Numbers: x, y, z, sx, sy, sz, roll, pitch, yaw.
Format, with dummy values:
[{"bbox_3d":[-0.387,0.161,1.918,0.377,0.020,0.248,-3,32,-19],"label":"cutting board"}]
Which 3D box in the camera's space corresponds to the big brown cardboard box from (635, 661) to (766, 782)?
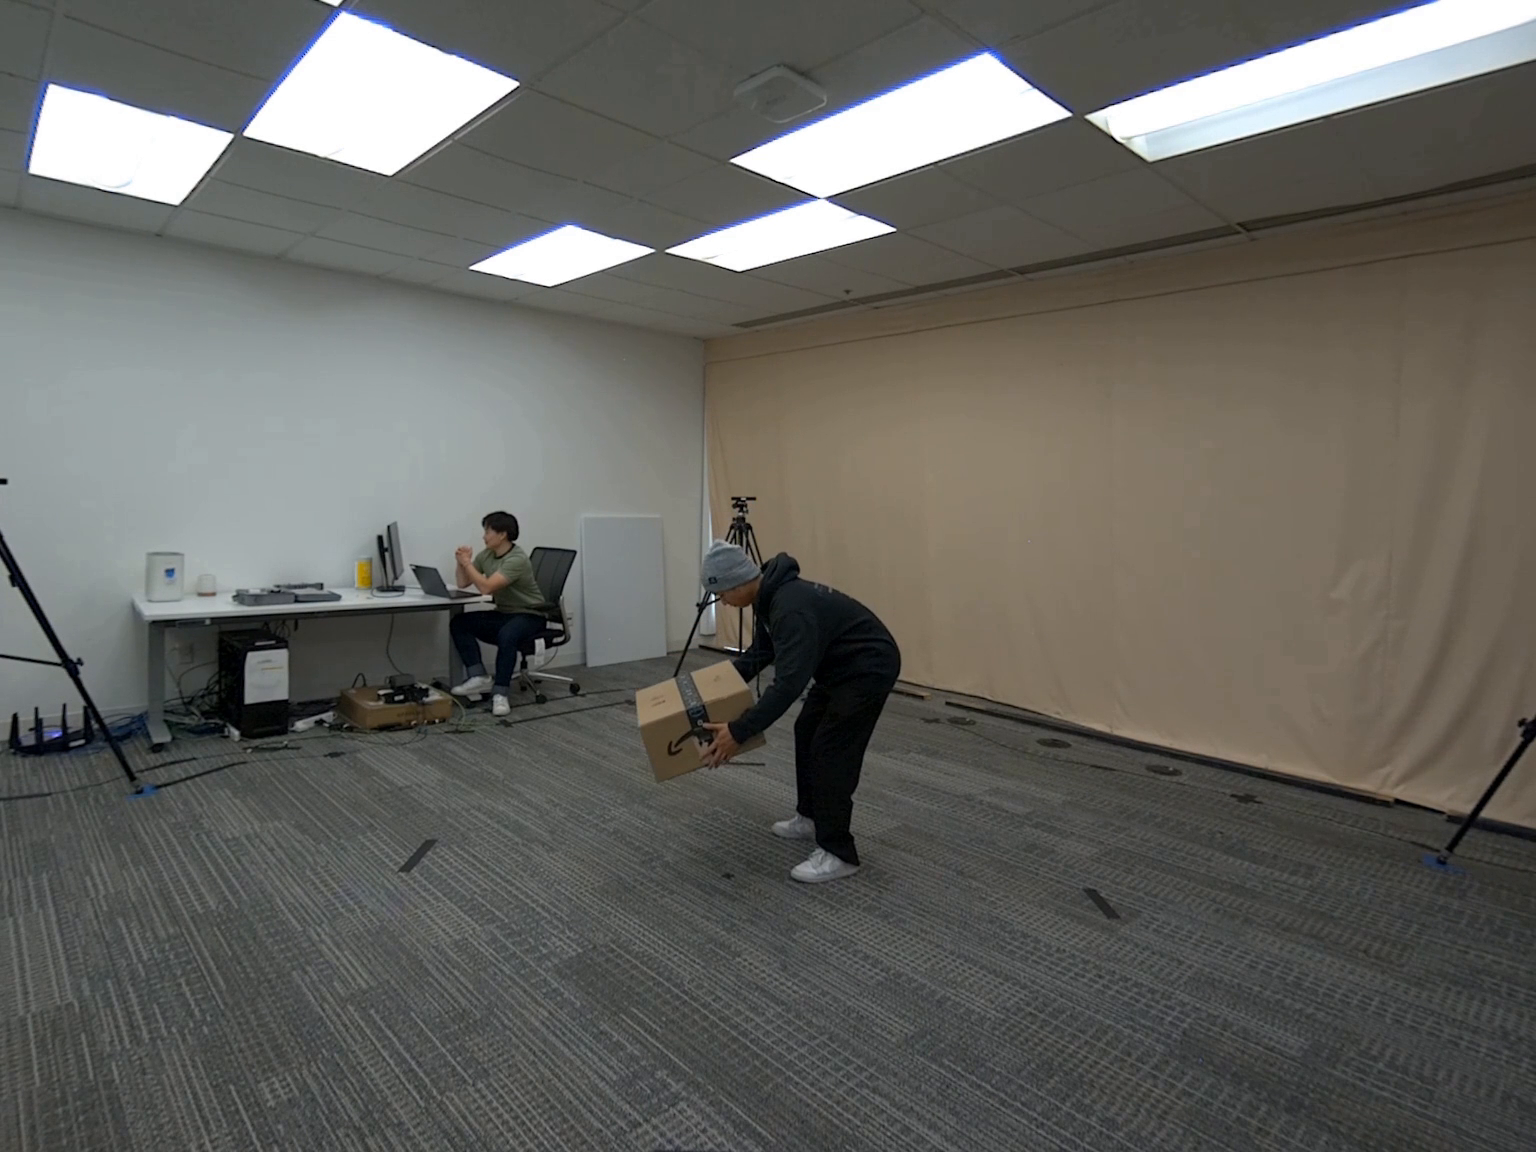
[{"bbox_3d":[-0.280,0.540,3.244,0.416,0.232,0.594,-18,6,-7],"label":"big brown cardboard box"}]
